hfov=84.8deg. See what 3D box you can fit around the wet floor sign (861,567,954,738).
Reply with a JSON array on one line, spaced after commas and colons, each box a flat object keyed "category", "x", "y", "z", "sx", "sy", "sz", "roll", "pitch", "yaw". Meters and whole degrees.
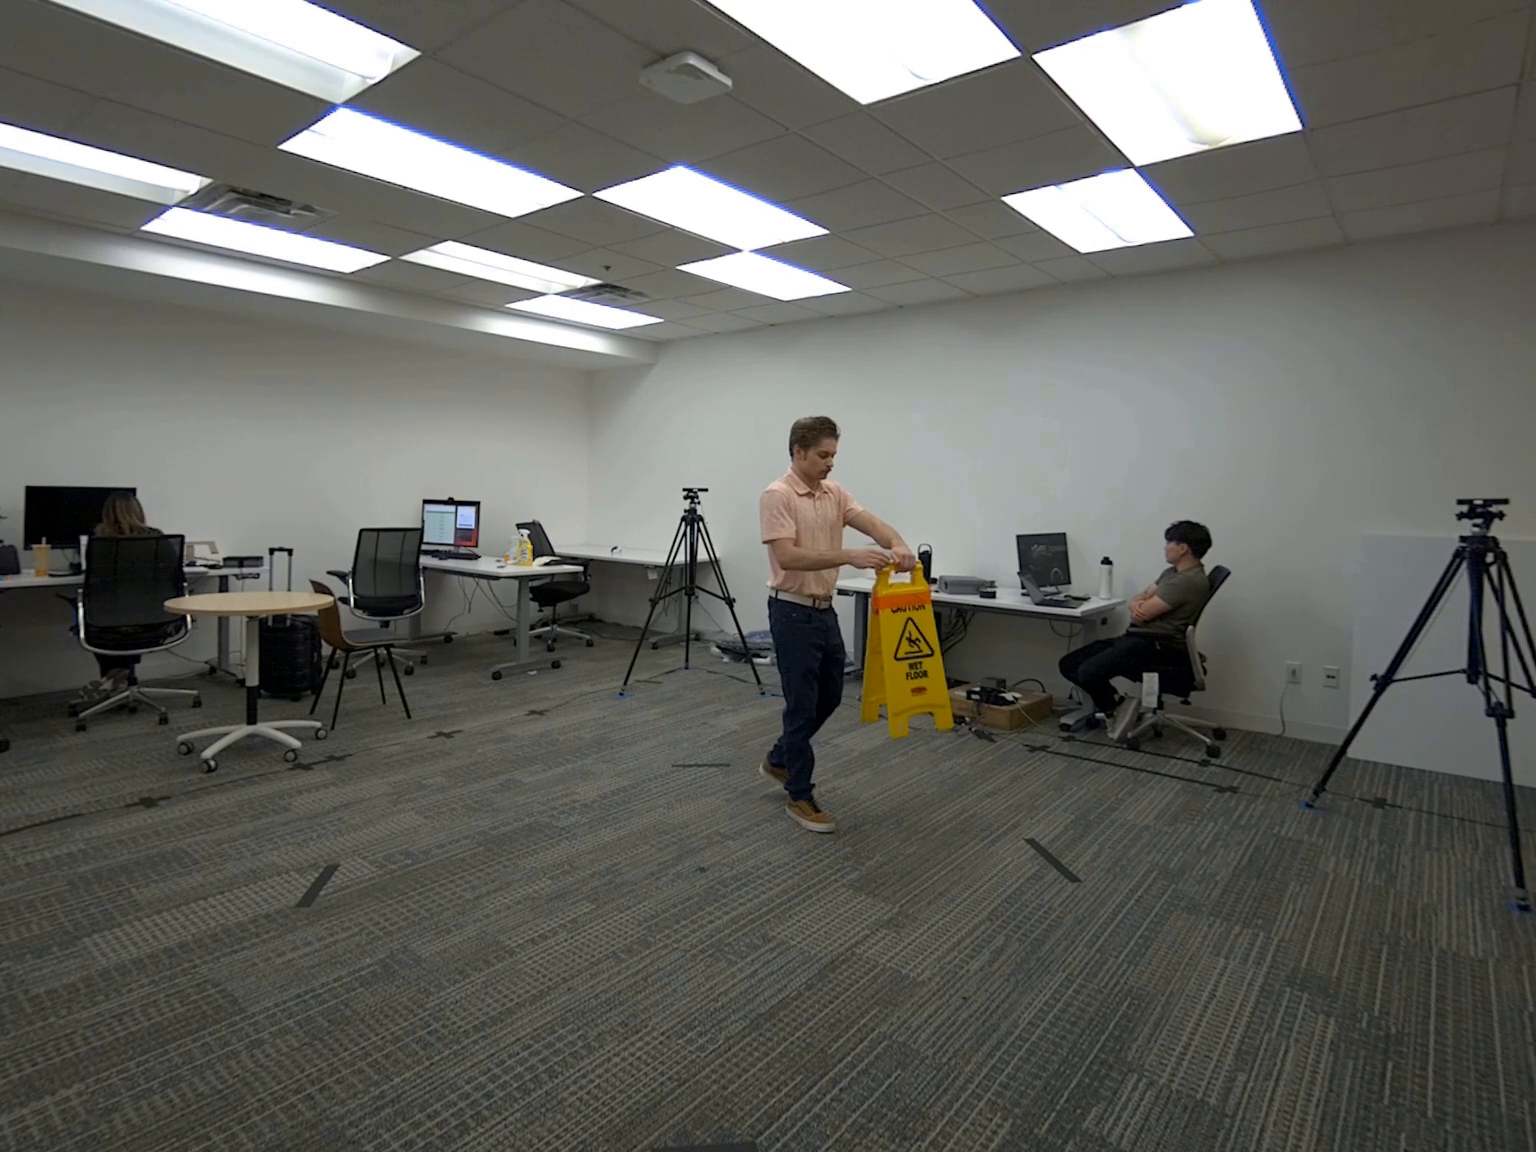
[{"category": "wet floor sign", "x": 0.520, "y": 0.264, "z": 3.351, "sx": 0.277, "sy": 0.644, "sz": 0.296, "roll": -3, "pitch": 3, "yaw": -20}]
